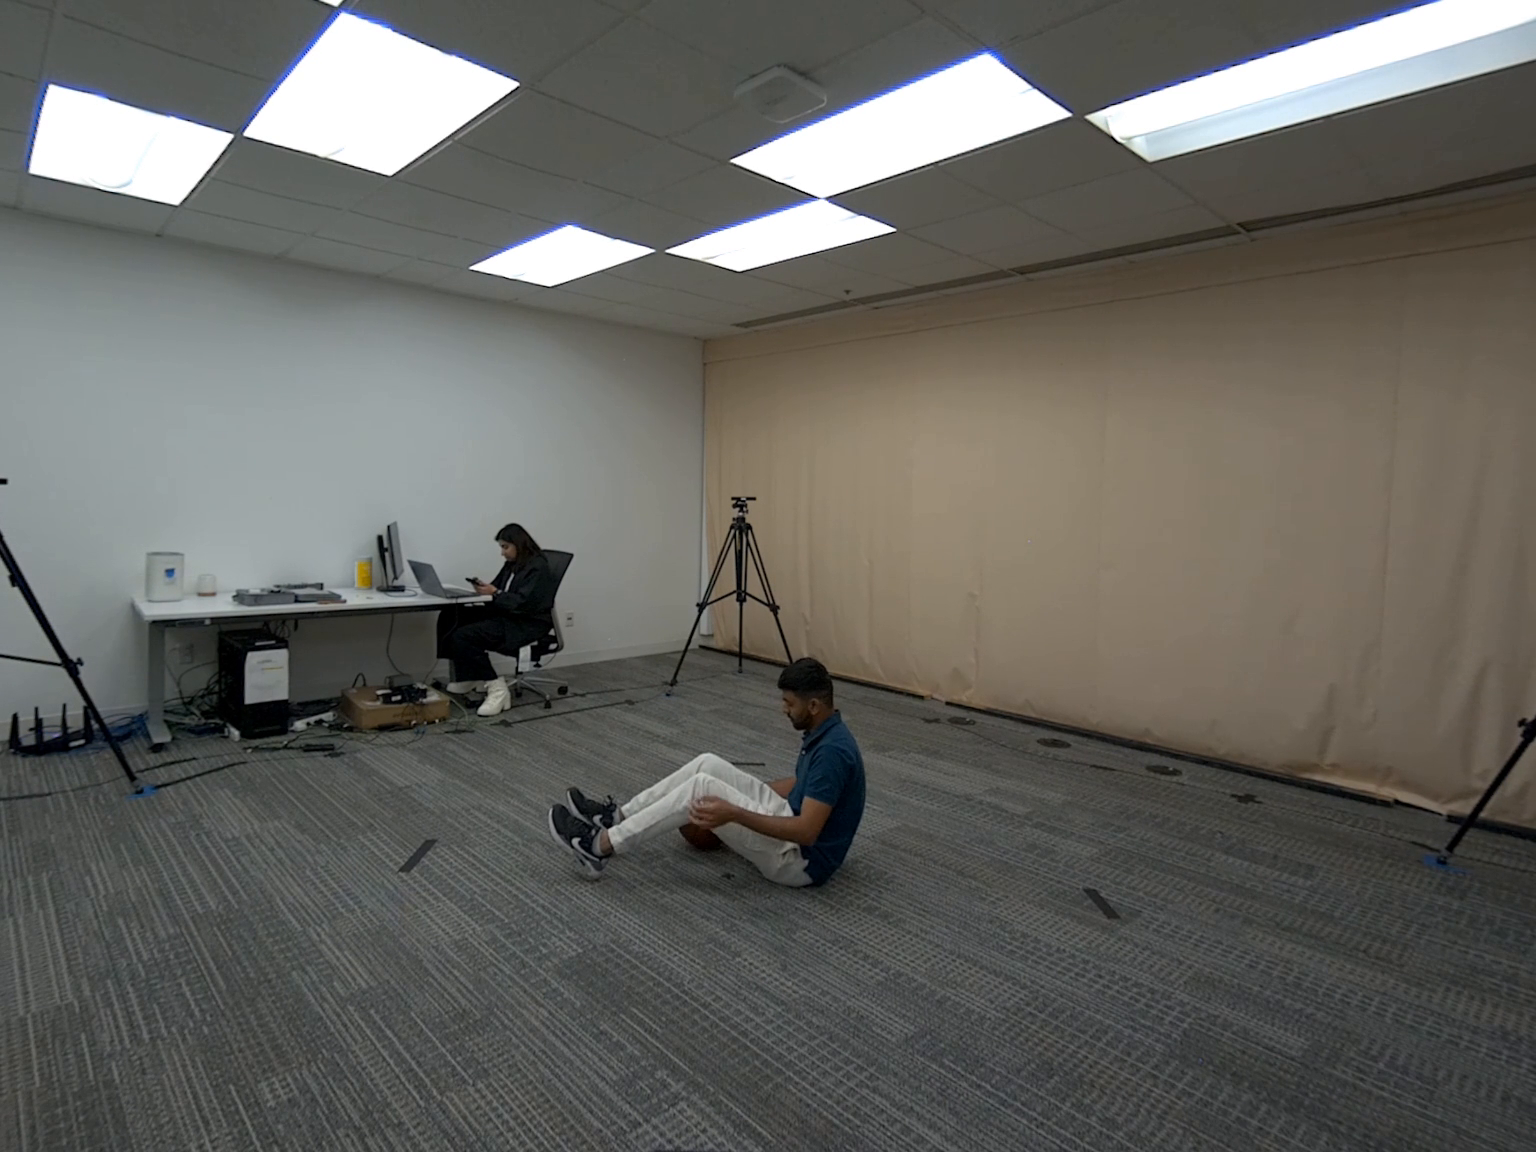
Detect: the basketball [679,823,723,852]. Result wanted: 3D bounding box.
[{"bbox_3d":[-0.245,0.958,3.365,0.236,0.235,0.237,1,4,-1],"label":"basketball"}]
